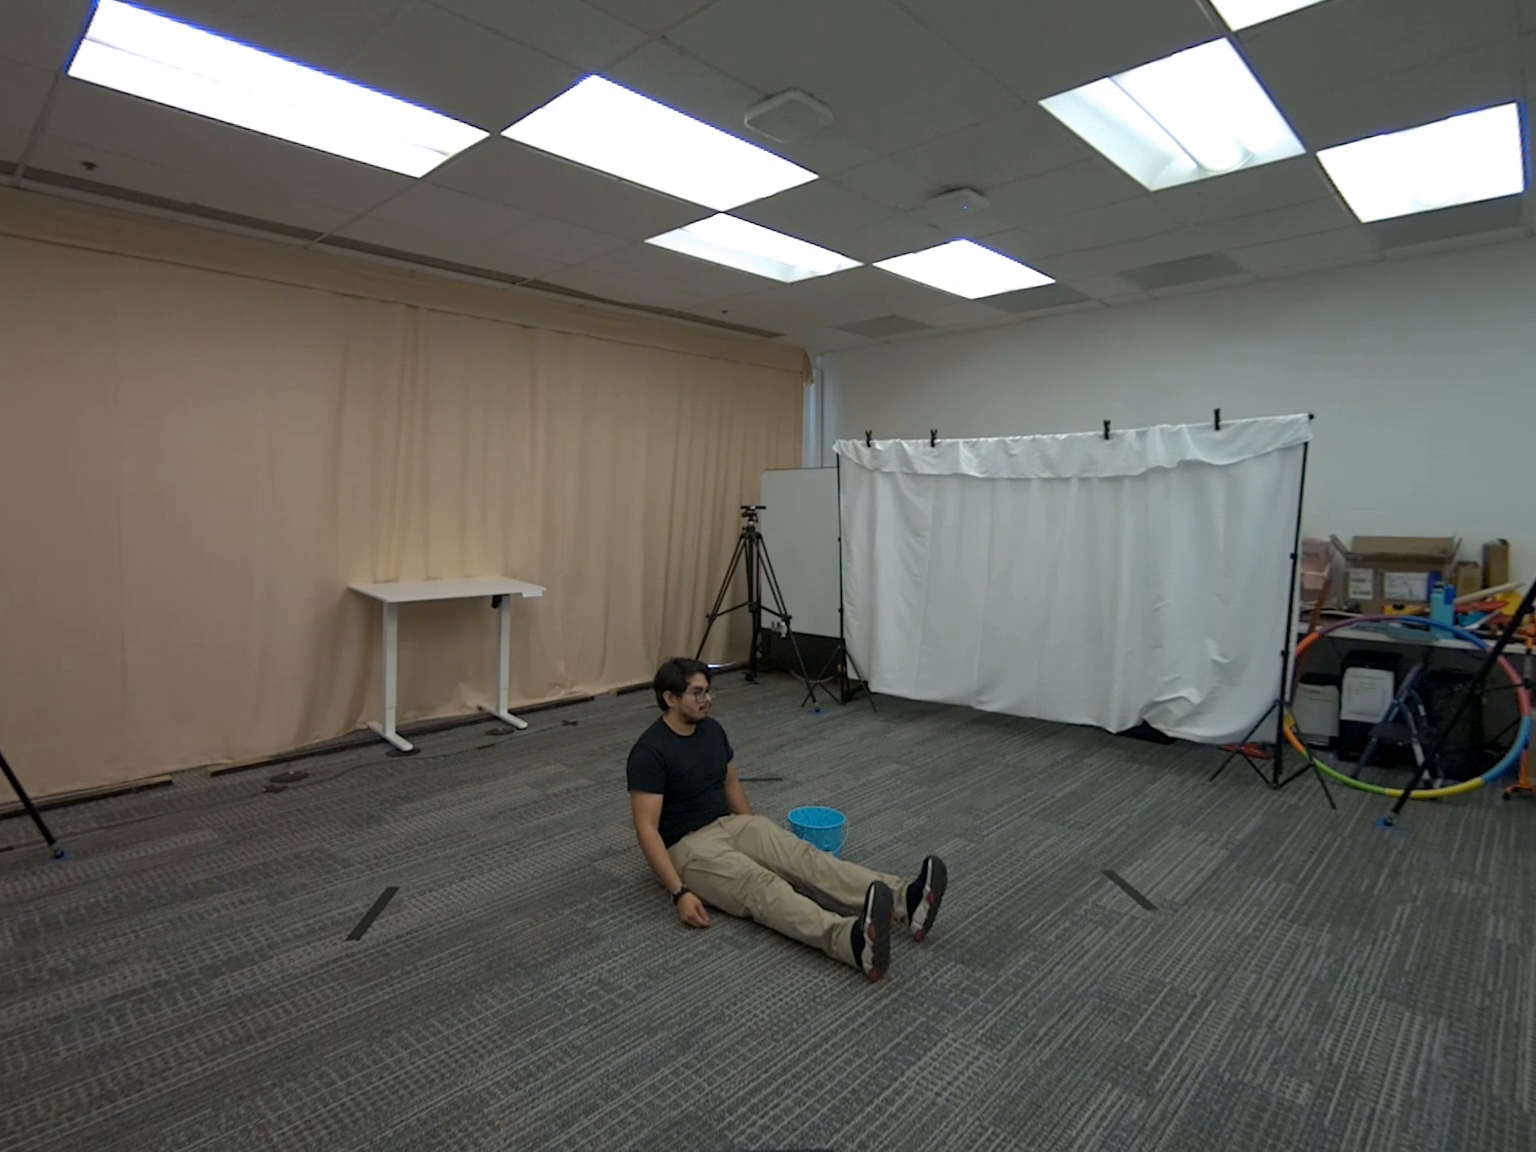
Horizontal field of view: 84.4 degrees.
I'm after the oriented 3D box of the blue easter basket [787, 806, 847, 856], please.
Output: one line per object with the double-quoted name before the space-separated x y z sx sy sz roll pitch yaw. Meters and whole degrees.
"blue easter basket" 0.194 1.033 3.349 0.243 0.155 0.244 1 3 -2
